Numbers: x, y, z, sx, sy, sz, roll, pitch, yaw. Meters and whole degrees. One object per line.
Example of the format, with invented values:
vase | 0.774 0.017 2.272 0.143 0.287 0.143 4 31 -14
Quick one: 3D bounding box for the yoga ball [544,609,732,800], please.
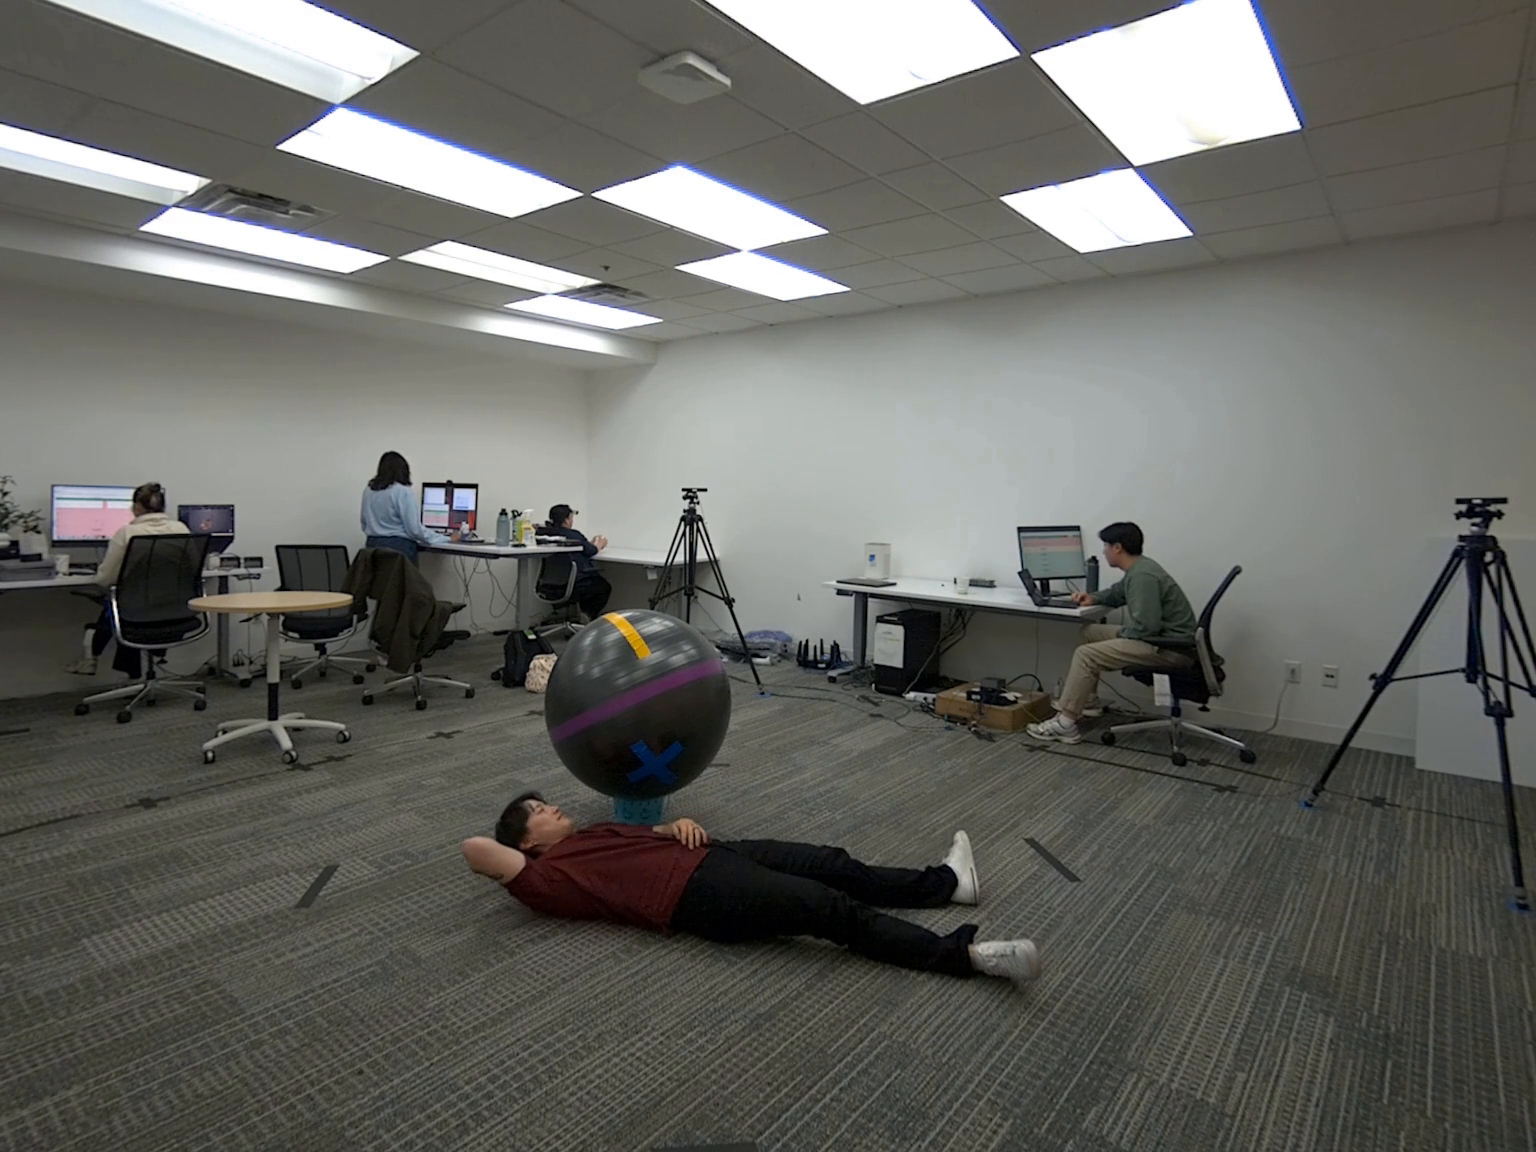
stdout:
yoga ball | -0.546 0.520 3.466 0.757 0.755 0.762 1 4 -2
